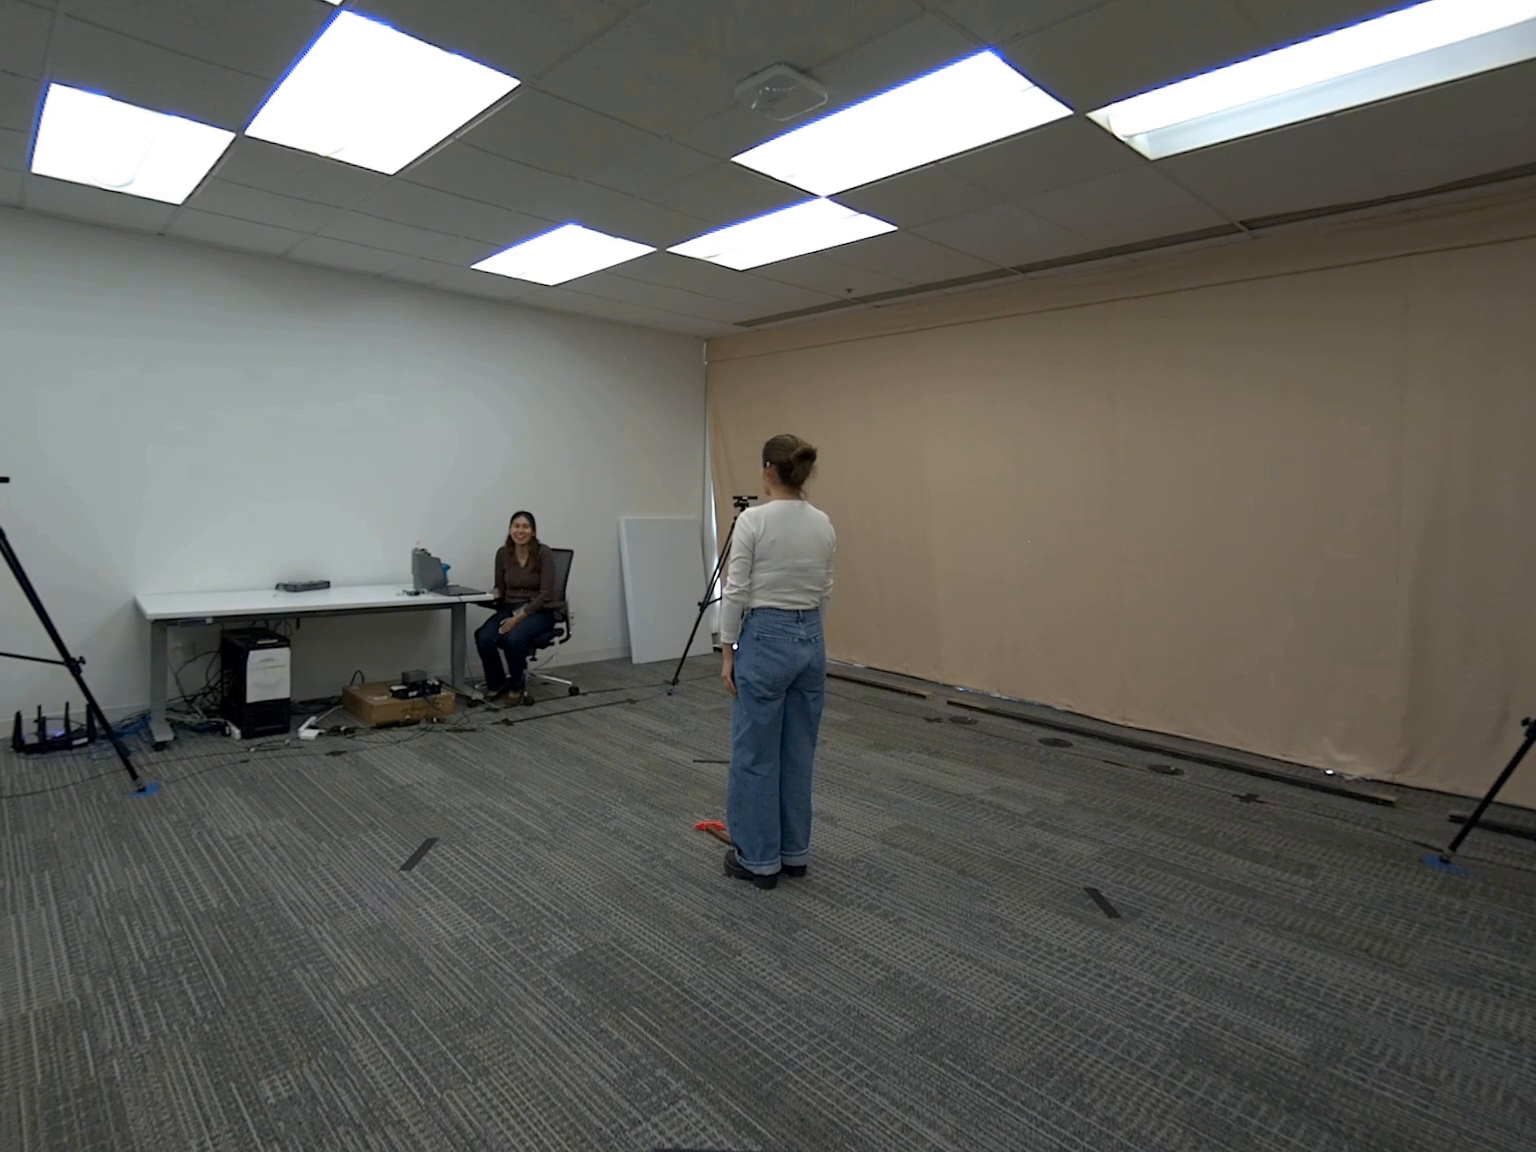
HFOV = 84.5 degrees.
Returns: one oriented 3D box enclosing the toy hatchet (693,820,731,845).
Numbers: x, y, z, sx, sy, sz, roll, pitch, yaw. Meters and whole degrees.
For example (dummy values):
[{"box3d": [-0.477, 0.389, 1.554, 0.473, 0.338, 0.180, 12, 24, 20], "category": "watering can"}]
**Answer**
[{"box3d": [-0.184, 1.058, 3.463, 0.277, 0.029, 0.128, 9, 6, 42], "category": "toy hatchet"}]
